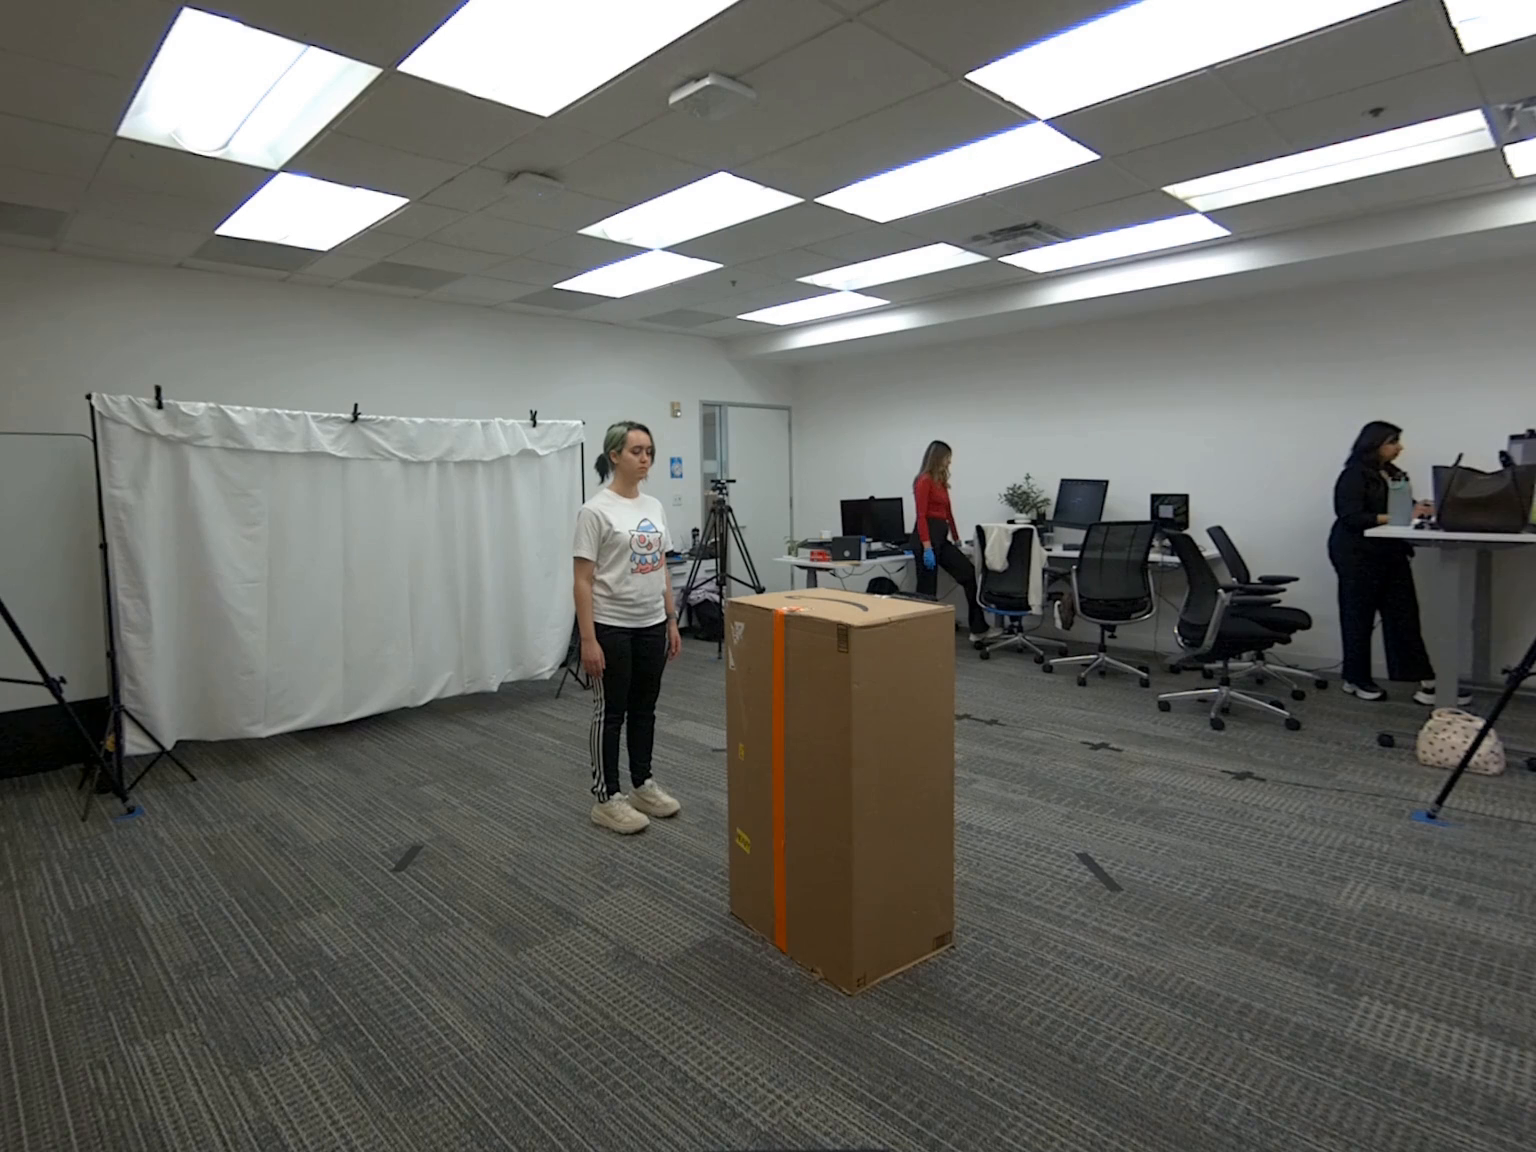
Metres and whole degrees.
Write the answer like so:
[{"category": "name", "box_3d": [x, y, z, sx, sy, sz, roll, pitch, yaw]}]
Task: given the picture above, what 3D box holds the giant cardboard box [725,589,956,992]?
[{"category": "giant cardboard box", "box_3d": [0.210, 0.592, 2.614, 0.435, 1.023, 0.601, -3, 5, -38]}]
